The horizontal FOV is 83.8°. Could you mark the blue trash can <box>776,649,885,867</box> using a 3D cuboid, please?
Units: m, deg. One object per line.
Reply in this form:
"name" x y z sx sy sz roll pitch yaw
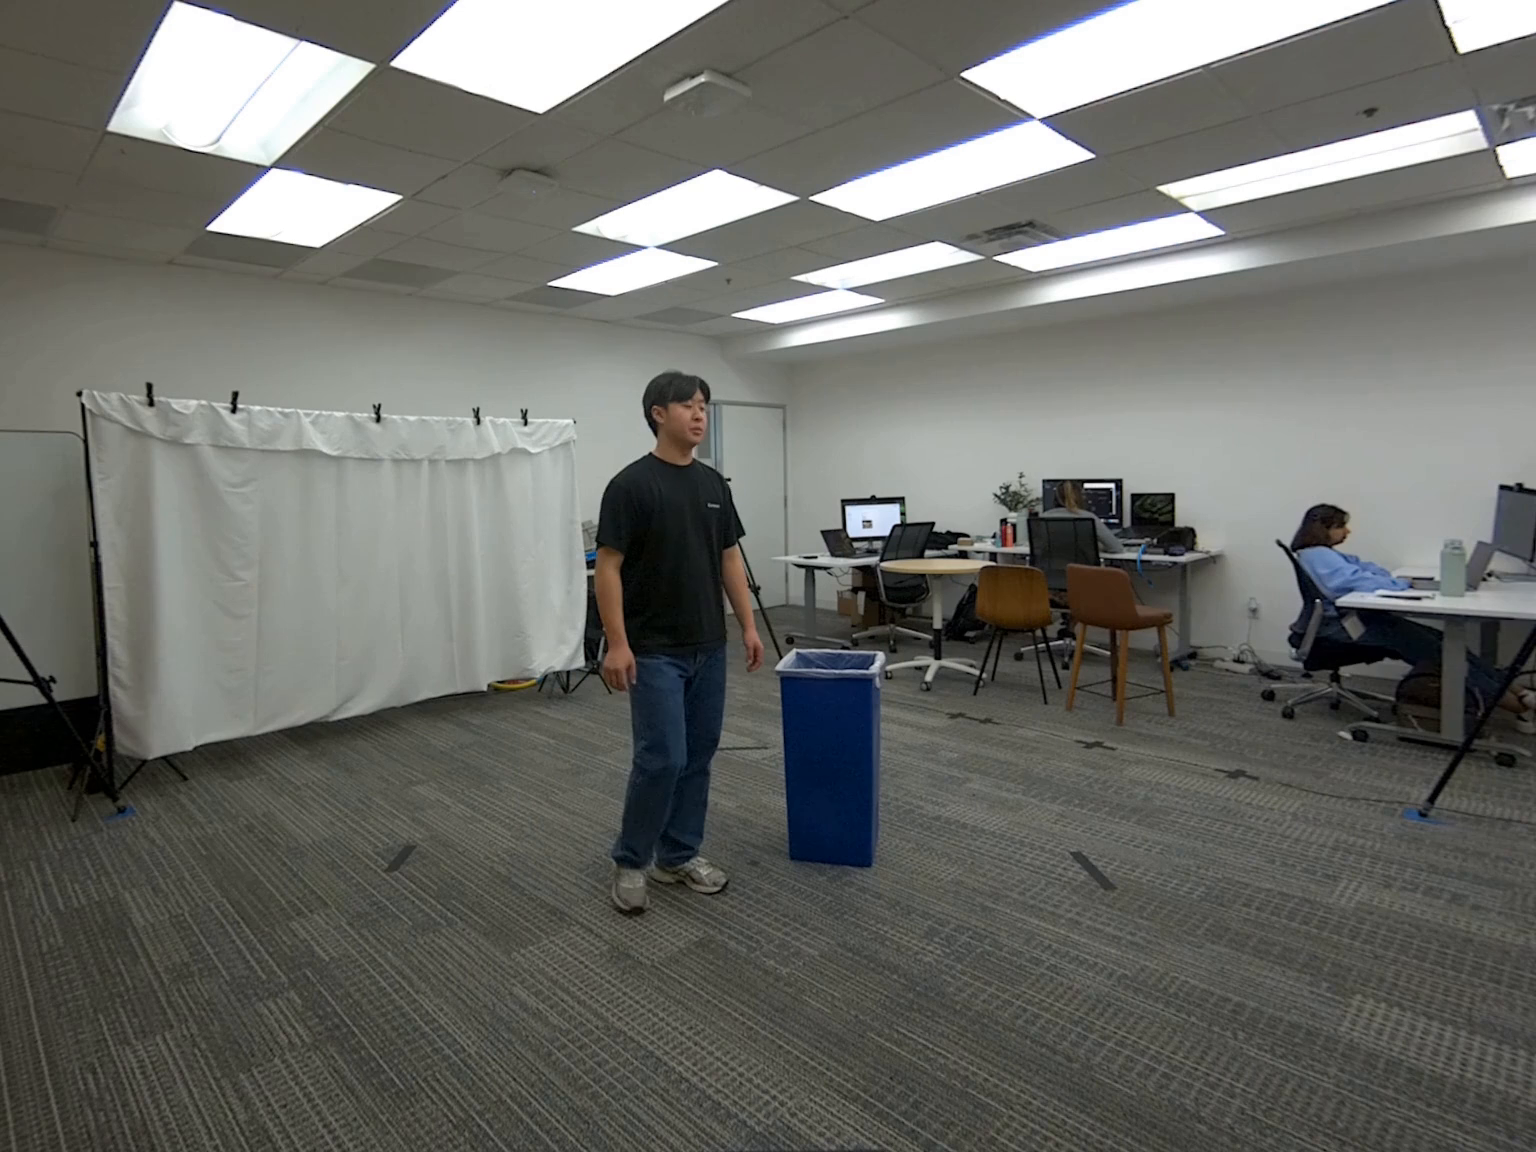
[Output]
"blue trash can" 0.256 0.667 3.215 0.379 0.711 0.374 -1 4 13
